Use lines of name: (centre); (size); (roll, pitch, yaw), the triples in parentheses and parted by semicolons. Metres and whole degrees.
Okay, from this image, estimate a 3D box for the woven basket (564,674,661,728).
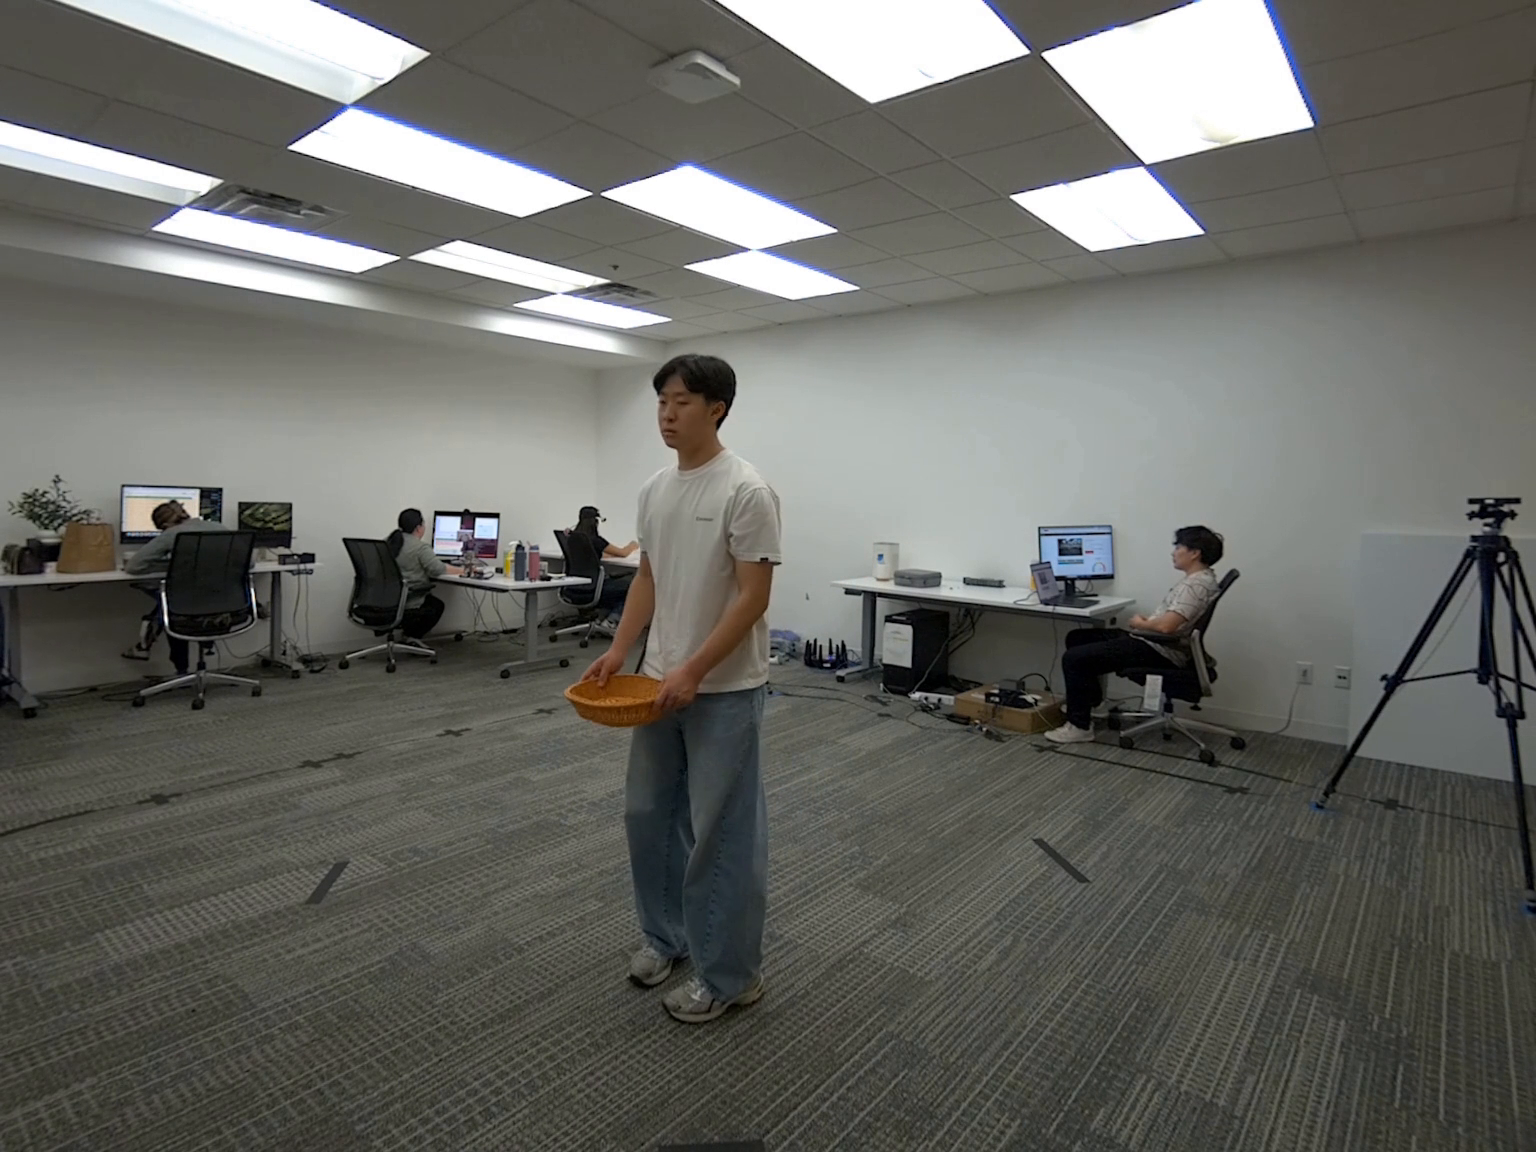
woven basket: (-0.396, 0.329, 2.284); (0.246, 0.073, 0.361); (-9, 7, -37)
